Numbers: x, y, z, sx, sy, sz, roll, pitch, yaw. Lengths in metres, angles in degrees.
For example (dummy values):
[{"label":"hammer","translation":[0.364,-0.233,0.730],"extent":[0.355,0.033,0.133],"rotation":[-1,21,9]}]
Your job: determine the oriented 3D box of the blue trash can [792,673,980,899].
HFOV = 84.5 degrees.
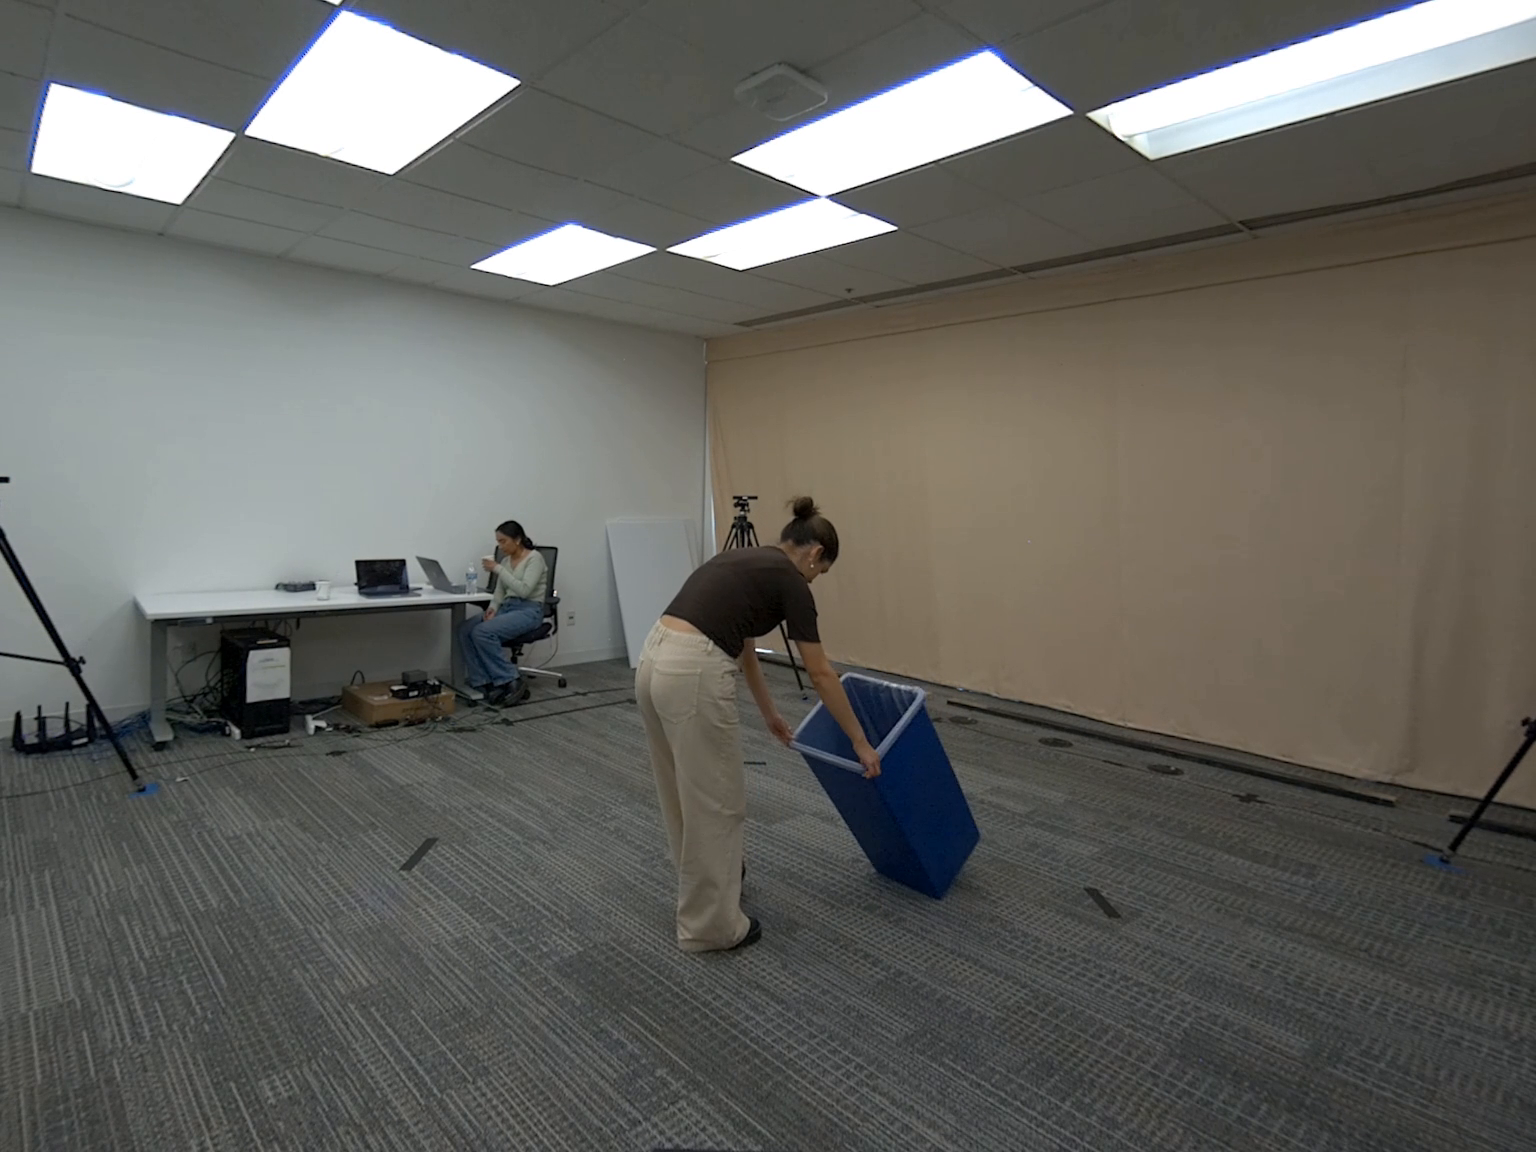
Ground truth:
[{"label":"blue trash can","translation":[0.426,0.753,2.970],"extent":[0.387,0.697,0.373],"rotation":[5,40,50]}]
